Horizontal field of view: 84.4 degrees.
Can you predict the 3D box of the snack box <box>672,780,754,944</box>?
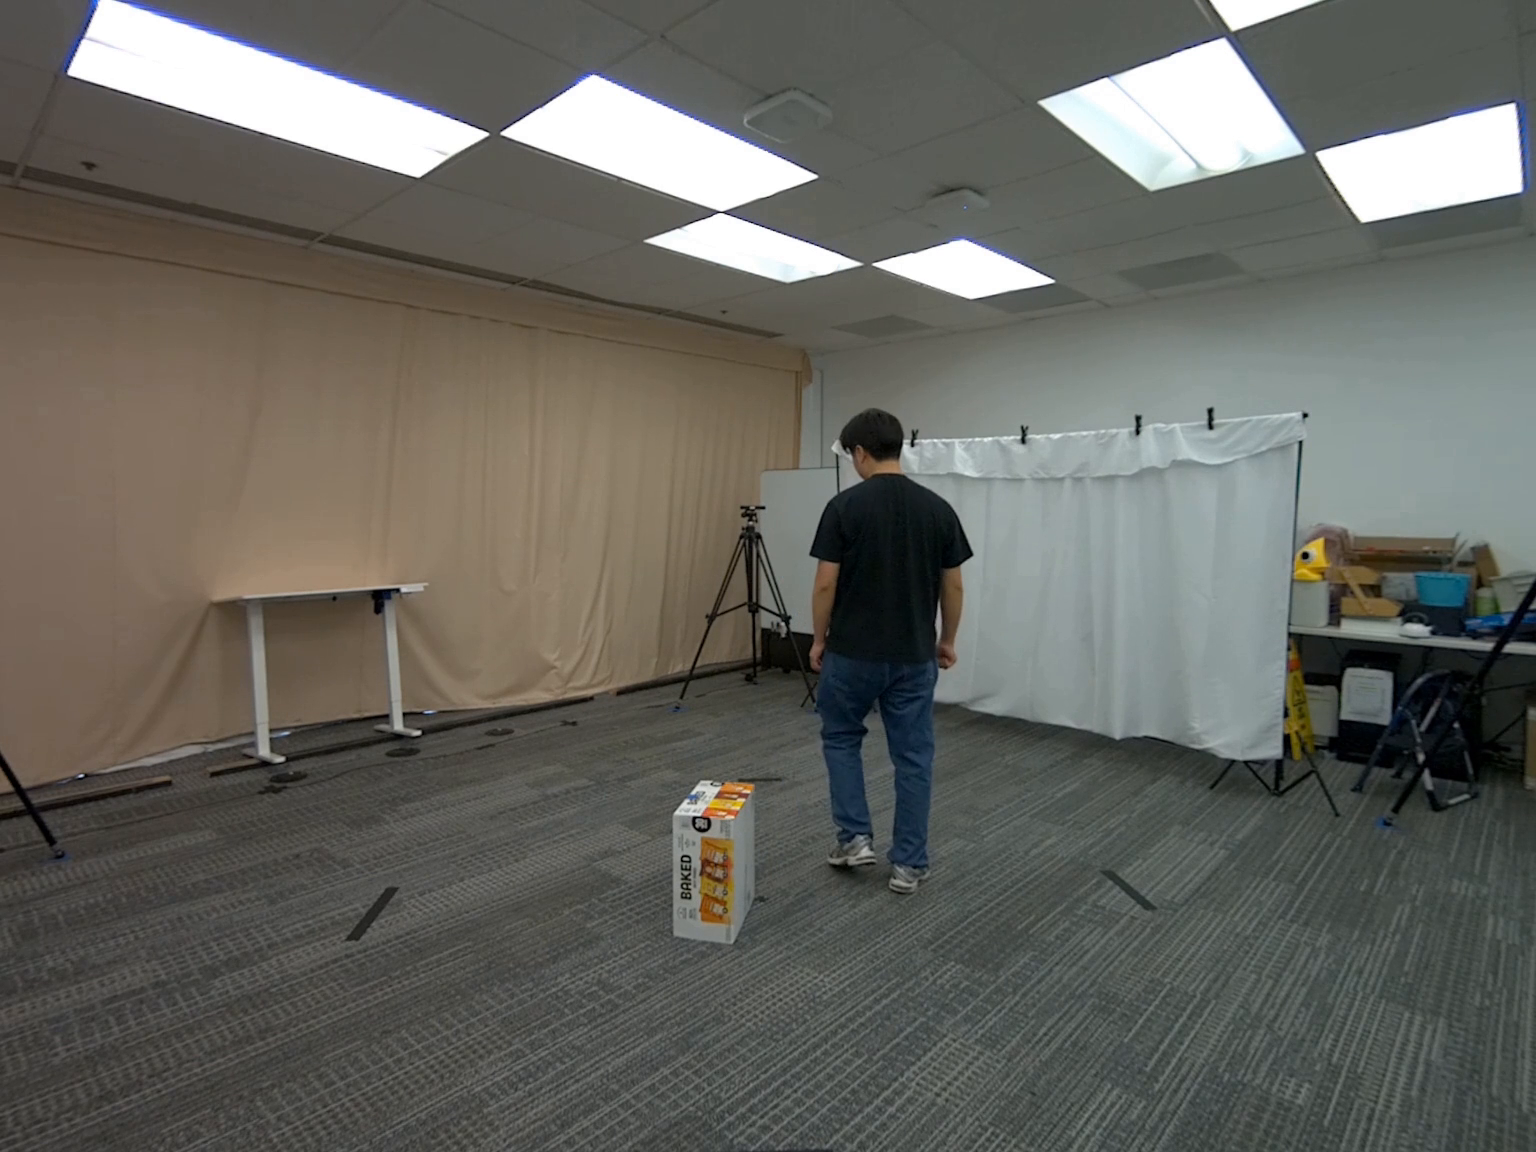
[{"bbox_3d":[-0.171,0.952,2.847,0.209,0.404,0.336,0,3,12],"label":"snack box"}]
